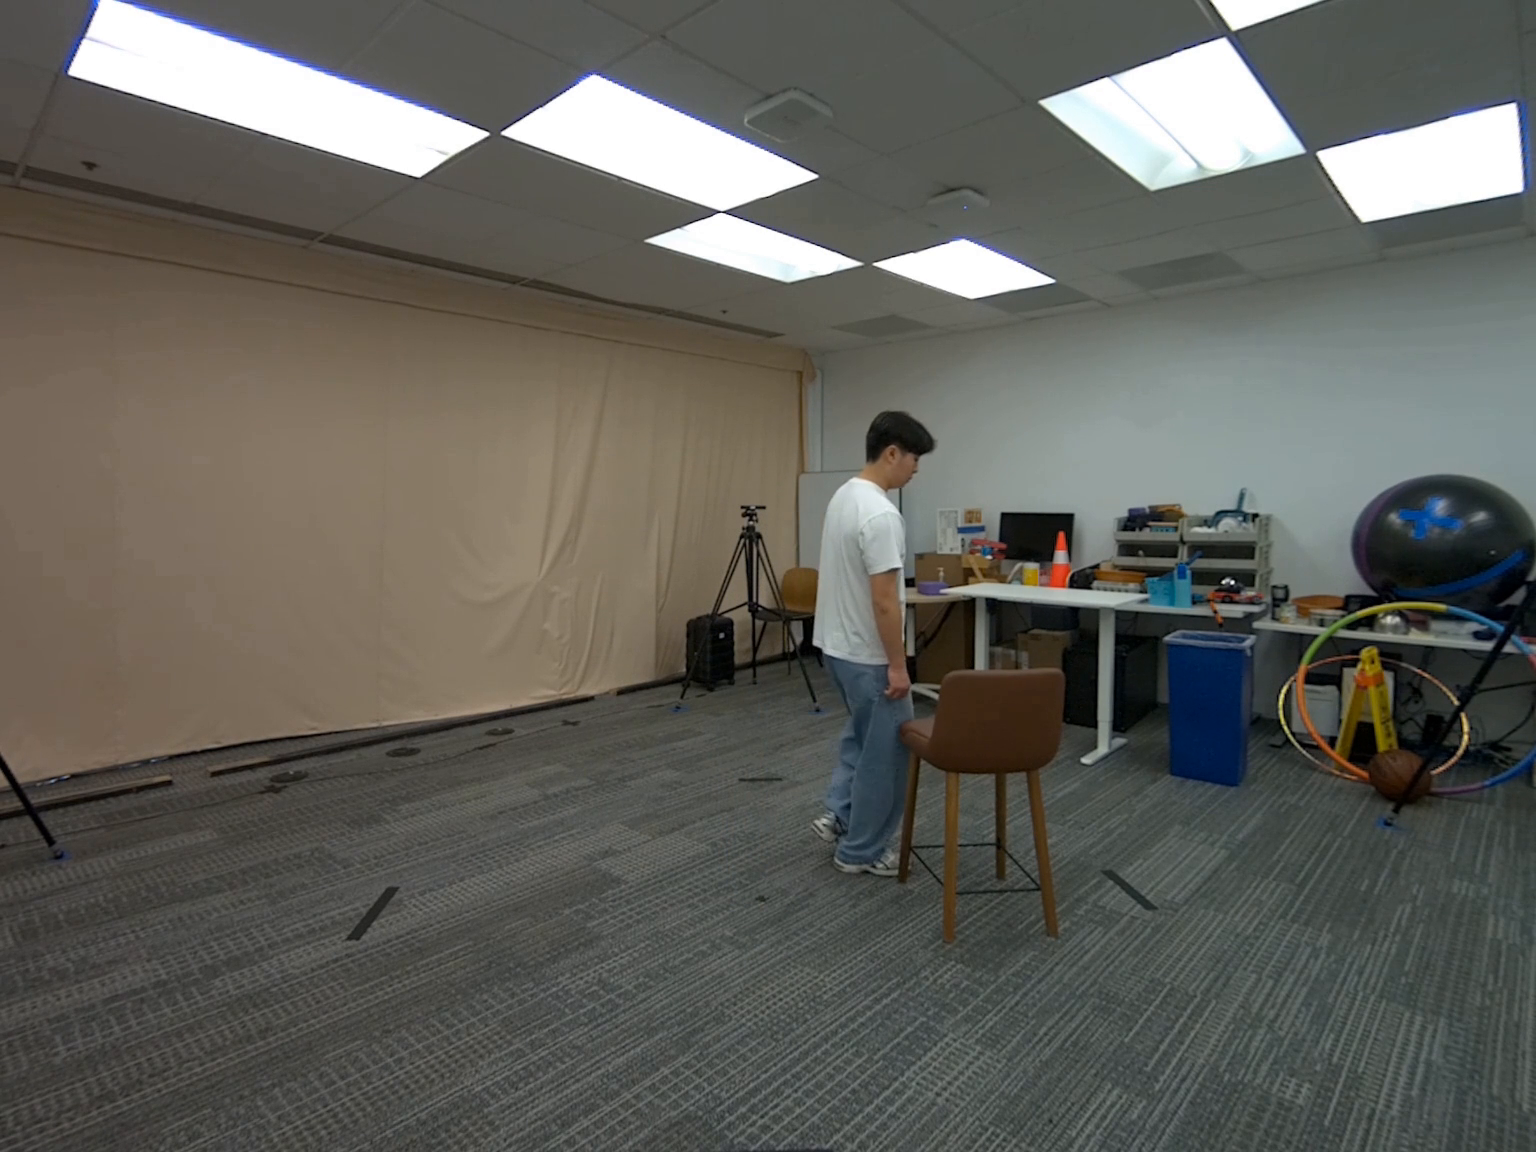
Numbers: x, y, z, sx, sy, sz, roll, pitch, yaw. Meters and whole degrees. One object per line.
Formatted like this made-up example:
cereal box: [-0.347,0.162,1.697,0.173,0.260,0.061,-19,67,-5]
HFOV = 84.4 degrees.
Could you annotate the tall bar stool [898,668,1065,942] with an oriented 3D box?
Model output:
tall bar stool: [0.726,0.716,2.880,0.453,0.887,0.473,0,5,-8]
